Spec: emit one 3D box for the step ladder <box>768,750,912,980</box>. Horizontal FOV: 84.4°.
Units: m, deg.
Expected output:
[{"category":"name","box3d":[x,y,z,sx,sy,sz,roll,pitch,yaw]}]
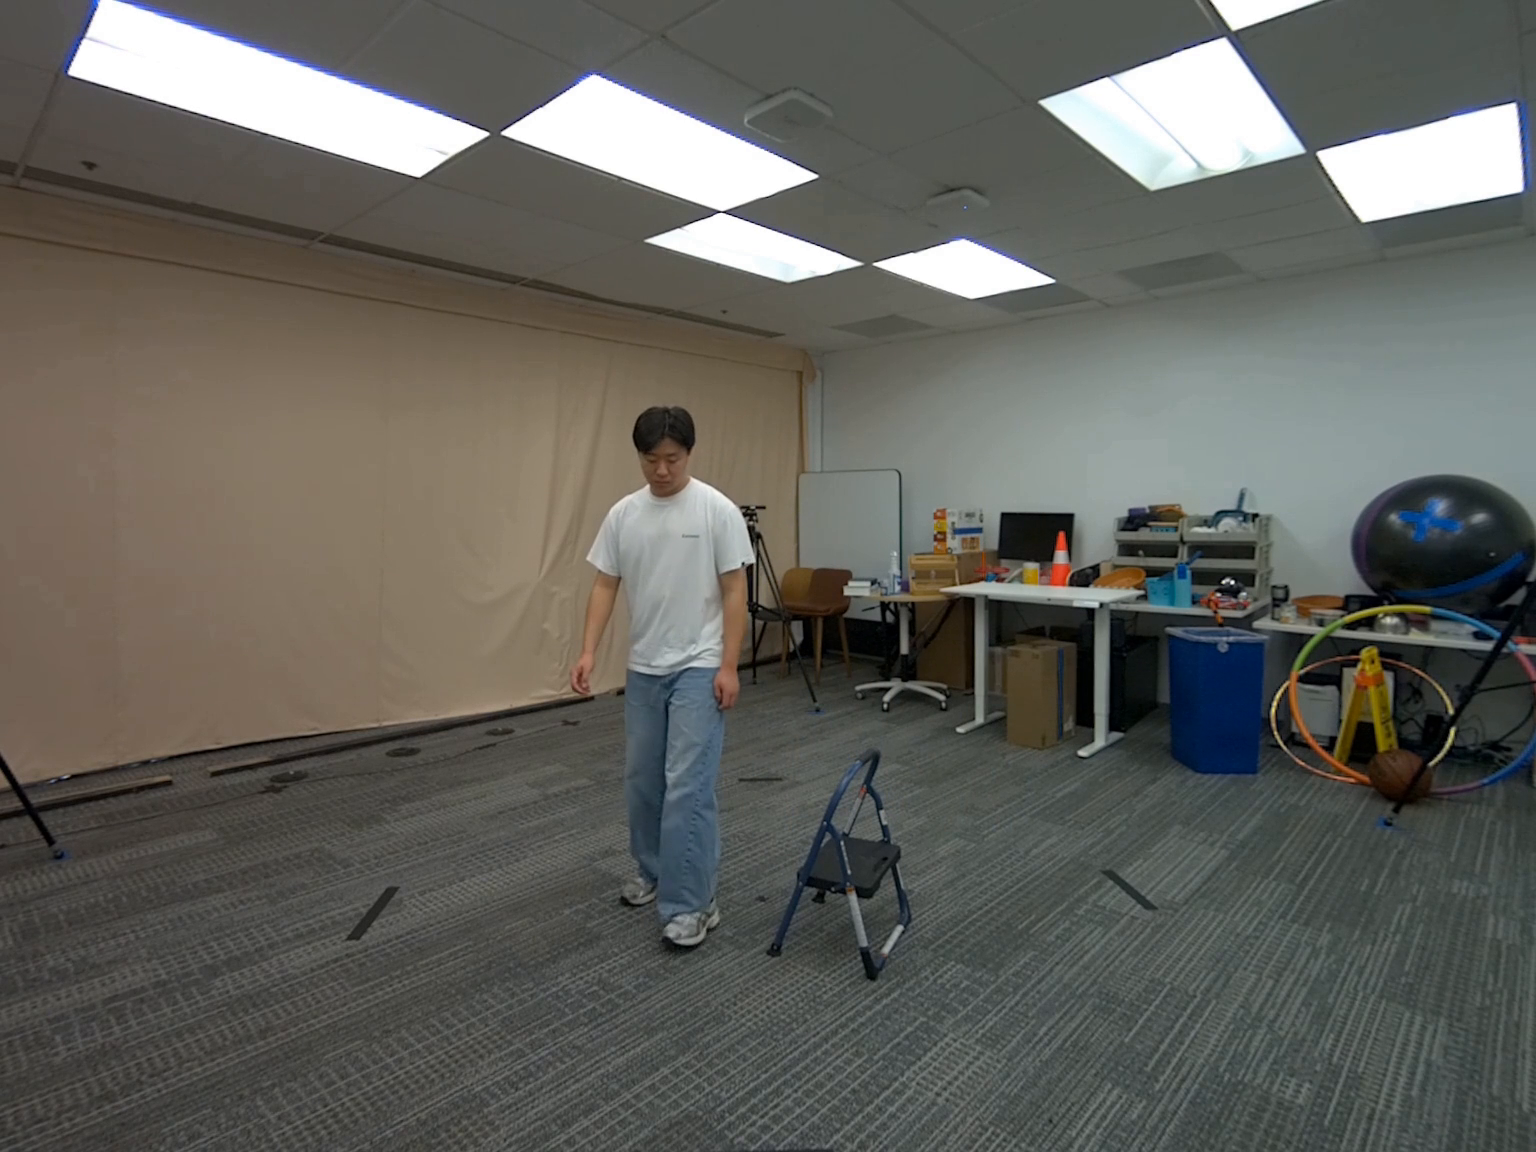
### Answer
[{"category":"step ladder","box3d":[0.245,0.863,2.698,0.358,0.605,0.420,2,4,26]}]
